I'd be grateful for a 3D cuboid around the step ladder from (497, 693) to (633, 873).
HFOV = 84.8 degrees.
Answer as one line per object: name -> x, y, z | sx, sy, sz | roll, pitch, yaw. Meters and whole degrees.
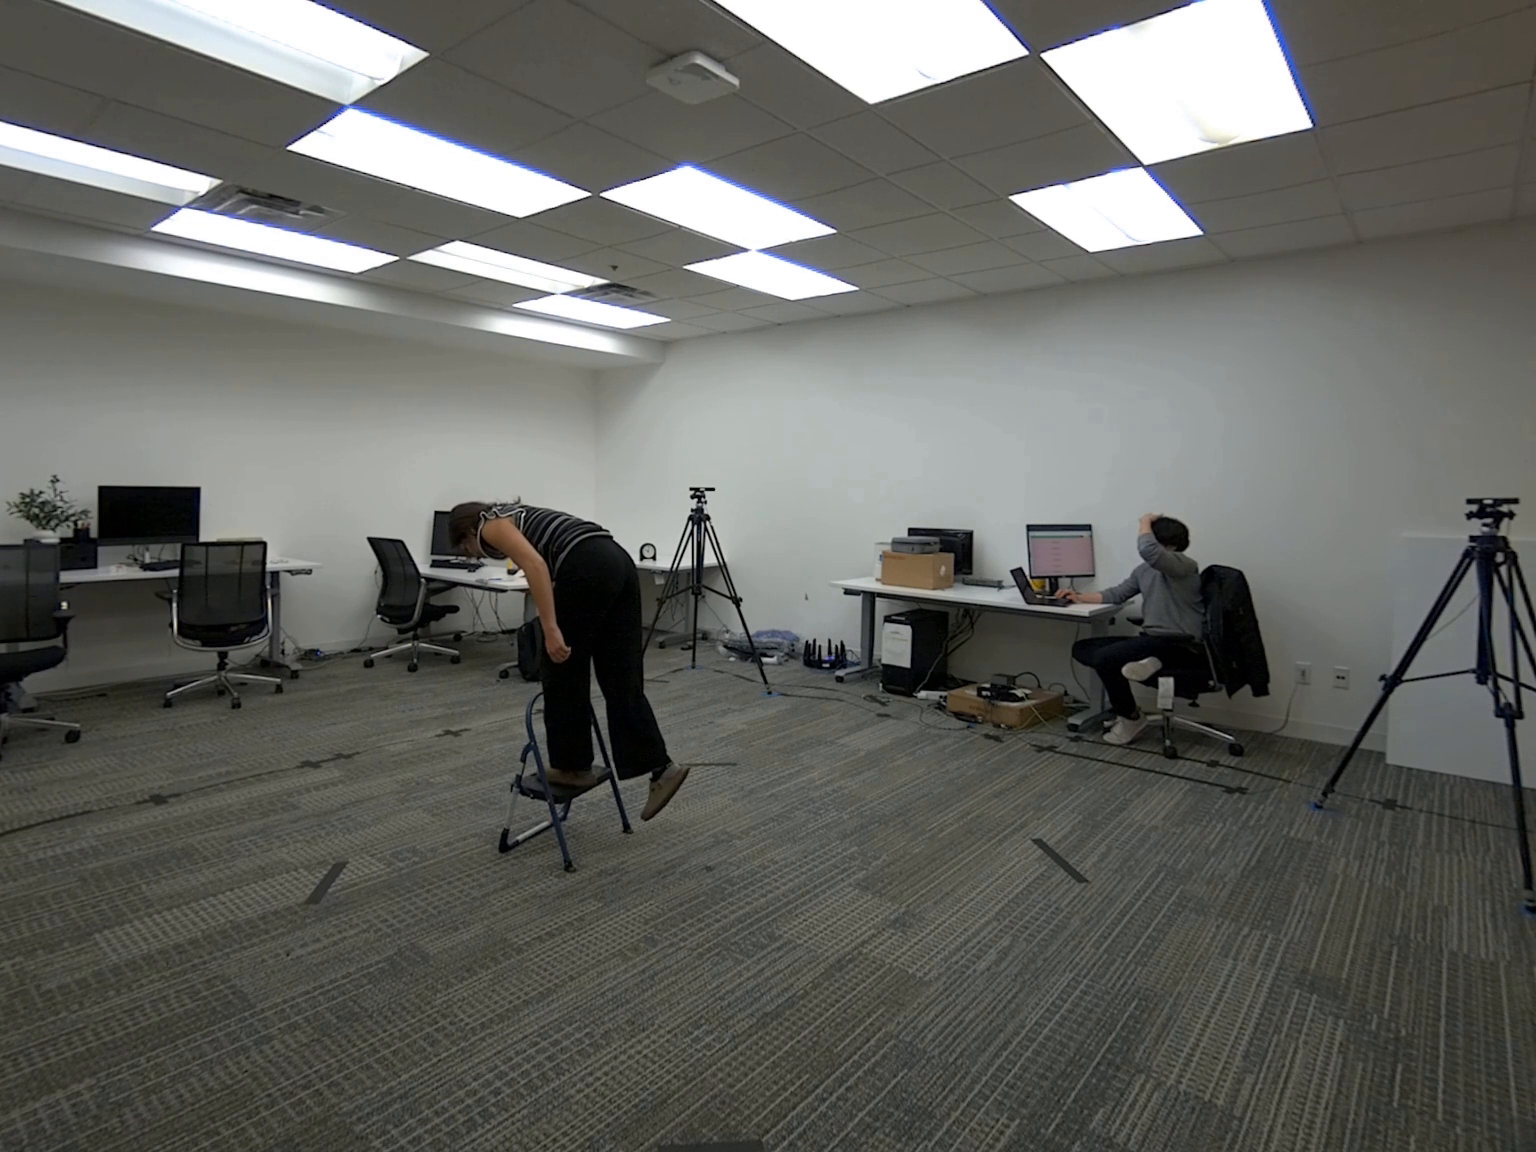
step ladder -> -0.788, 0.735, 3.311 | 0.358, 0.605, 0.421 | 3, 3, 24
